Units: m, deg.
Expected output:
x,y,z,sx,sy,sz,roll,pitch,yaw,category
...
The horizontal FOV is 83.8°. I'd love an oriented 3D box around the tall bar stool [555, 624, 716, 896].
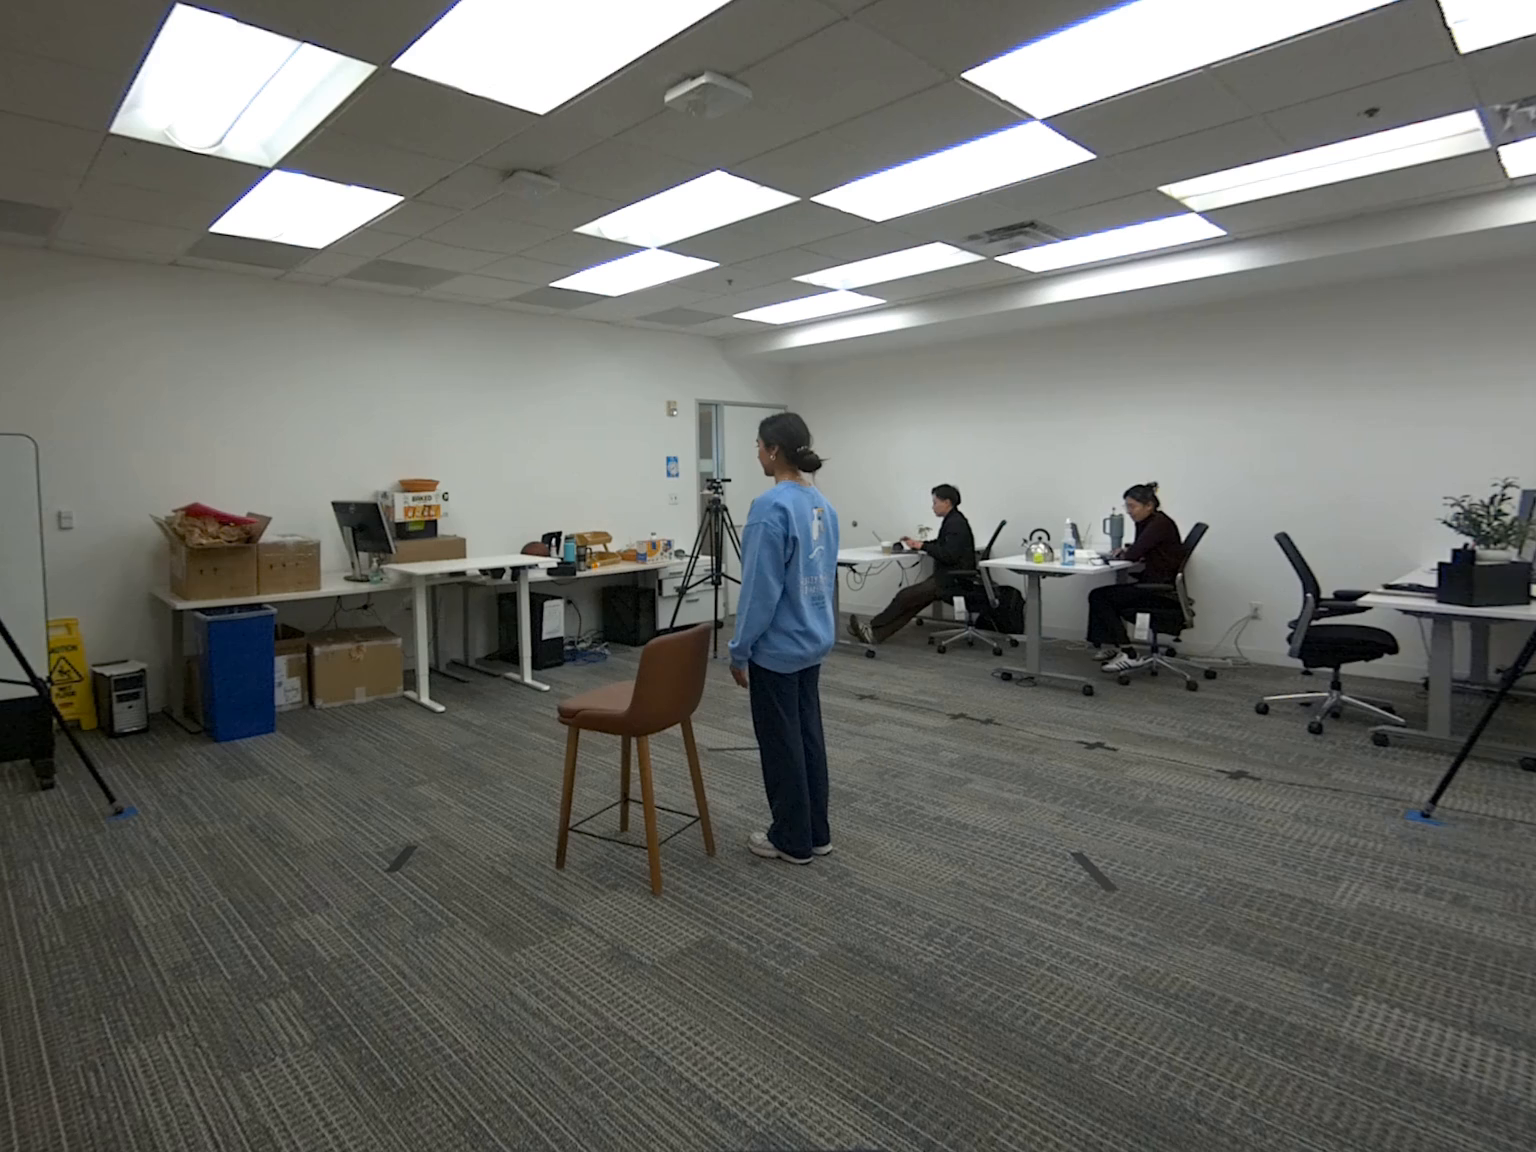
x,y,z,sx,sy,sz,roll,pitch,yaw,category
-0.478,0.615,3.111,0.480,0.886,0.446,4,6,30,tall bar stool
